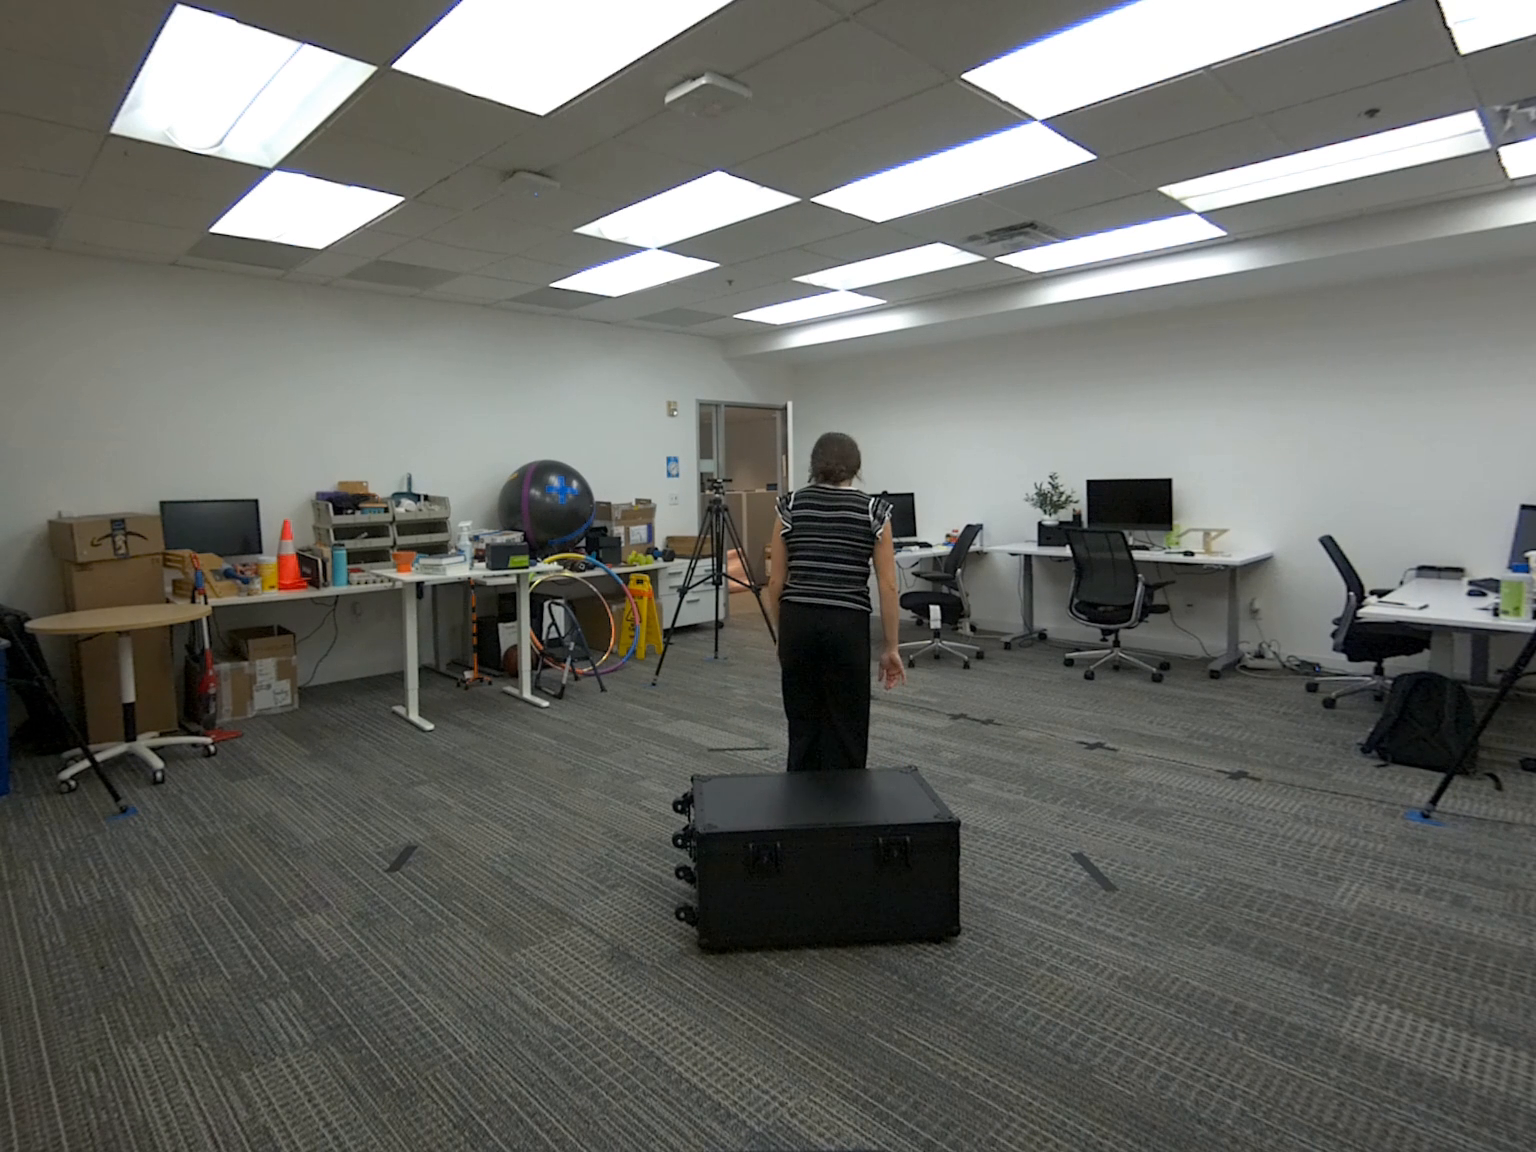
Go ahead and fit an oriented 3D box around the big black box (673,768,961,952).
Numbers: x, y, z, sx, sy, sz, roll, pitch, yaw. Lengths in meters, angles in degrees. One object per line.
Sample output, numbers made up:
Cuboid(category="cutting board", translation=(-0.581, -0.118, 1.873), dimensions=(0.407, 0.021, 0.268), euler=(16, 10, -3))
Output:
Cuboid(category="big black box", translation=(0.123, 0.889, 2.754), dimensions=(0.858, 0.395, 0.526), euler=(-1, 5, -5))
